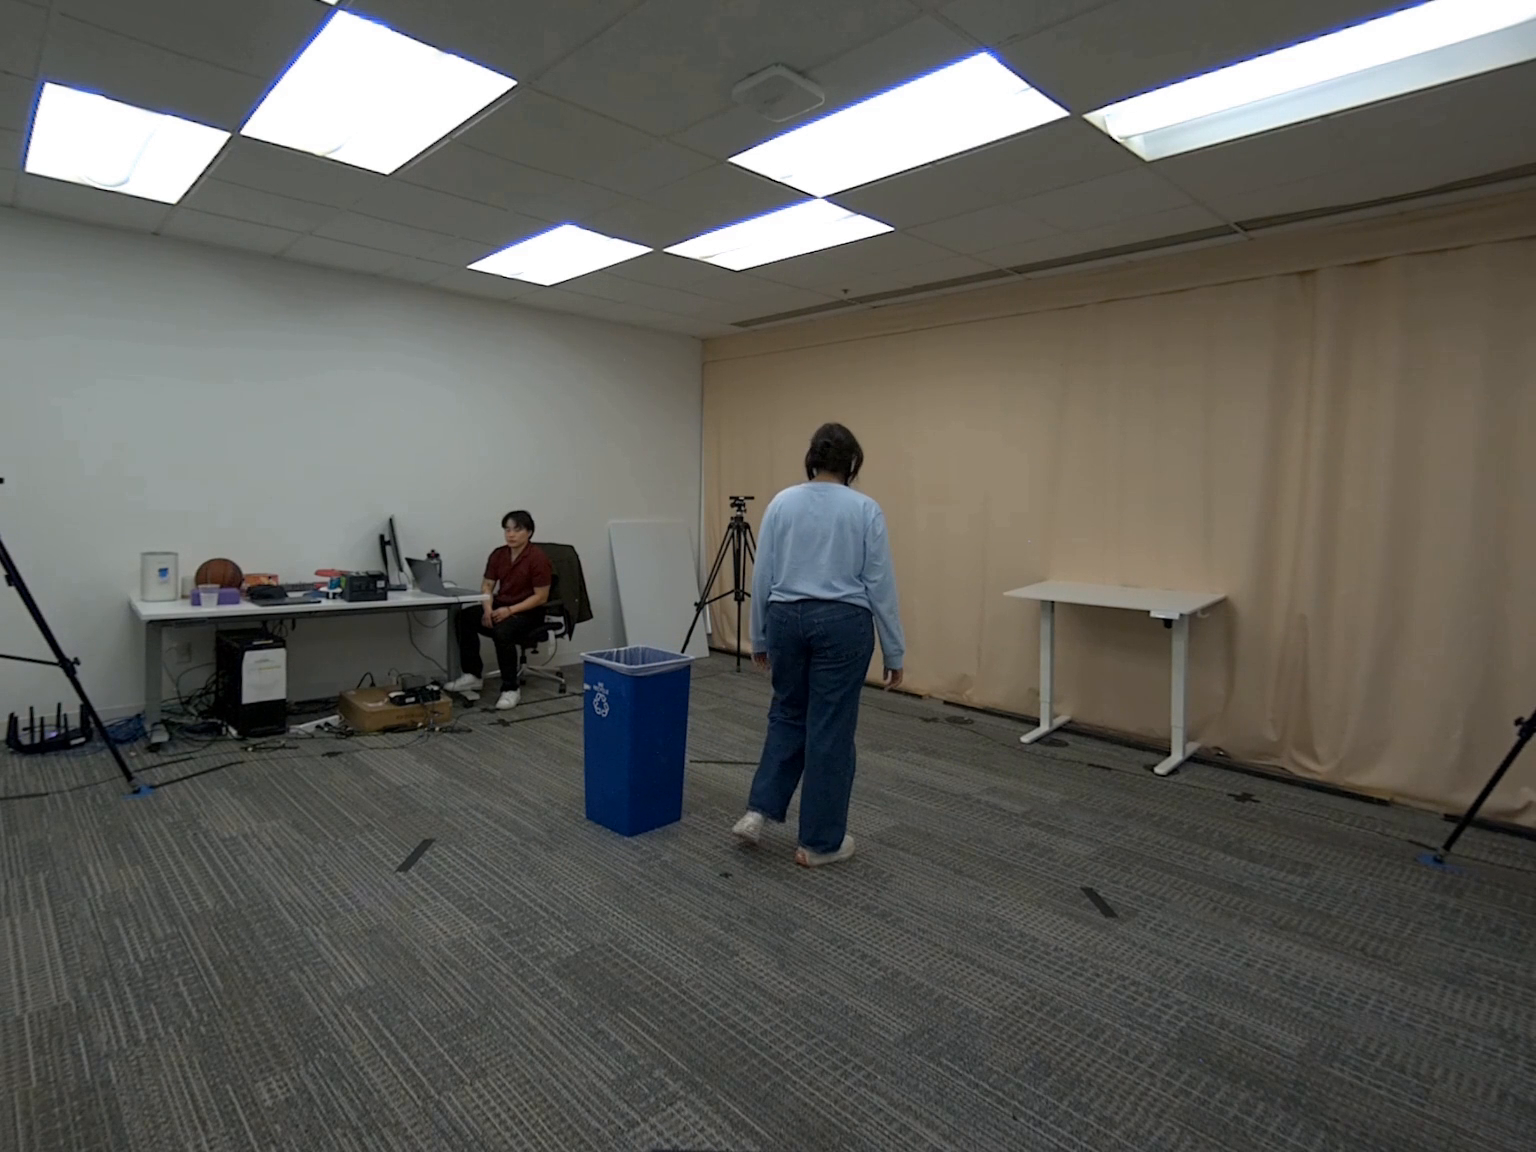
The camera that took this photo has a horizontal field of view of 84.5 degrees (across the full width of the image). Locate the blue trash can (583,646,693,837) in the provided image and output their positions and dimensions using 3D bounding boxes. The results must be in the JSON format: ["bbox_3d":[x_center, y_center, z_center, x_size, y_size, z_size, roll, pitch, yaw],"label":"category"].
[{"bbox_3d":[-0.580,0.694,3.608,0.388,0.712,0.365,5,5,43],"label":"blue trash can"}]
